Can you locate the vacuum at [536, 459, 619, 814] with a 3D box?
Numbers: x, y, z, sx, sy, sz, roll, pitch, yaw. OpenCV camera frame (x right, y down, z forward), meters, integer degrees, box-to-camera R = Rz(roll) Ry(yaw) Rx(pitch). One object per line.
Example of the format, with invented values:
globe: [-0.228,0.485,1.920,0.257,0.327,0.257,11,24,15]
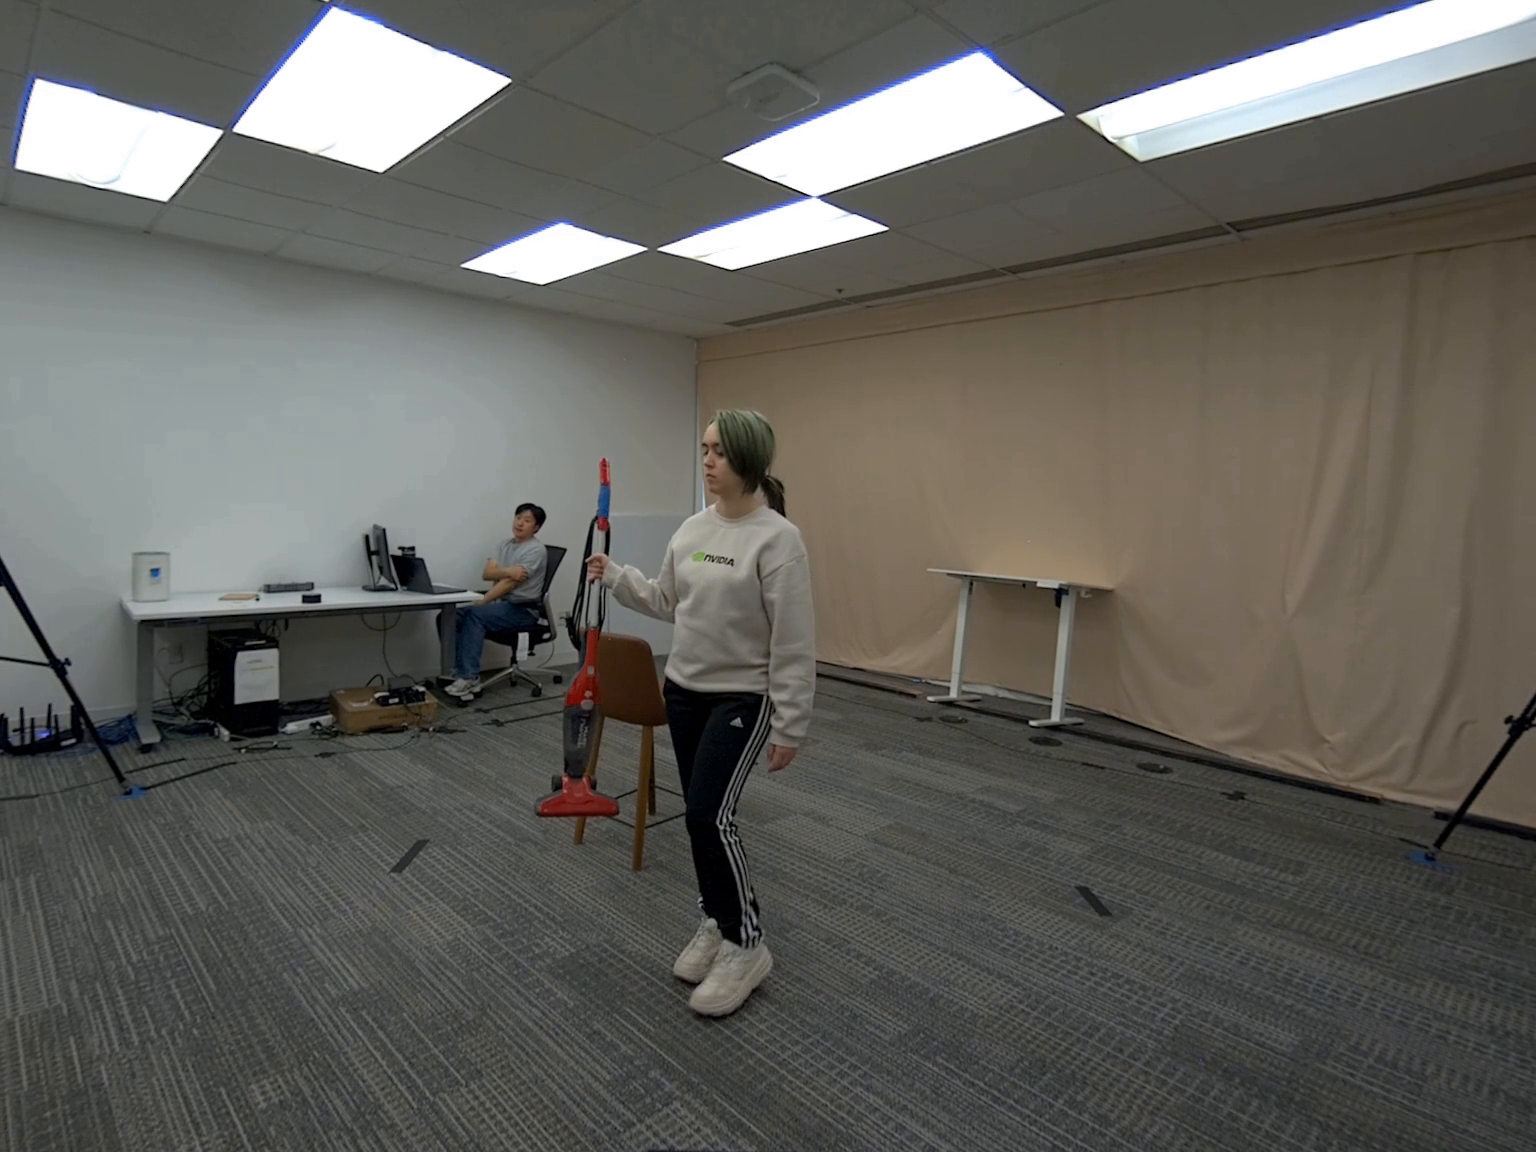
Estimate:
vacuum: [-0.562,0.153,2.625,0.248,1.056,0.146,5,-9,-23]
